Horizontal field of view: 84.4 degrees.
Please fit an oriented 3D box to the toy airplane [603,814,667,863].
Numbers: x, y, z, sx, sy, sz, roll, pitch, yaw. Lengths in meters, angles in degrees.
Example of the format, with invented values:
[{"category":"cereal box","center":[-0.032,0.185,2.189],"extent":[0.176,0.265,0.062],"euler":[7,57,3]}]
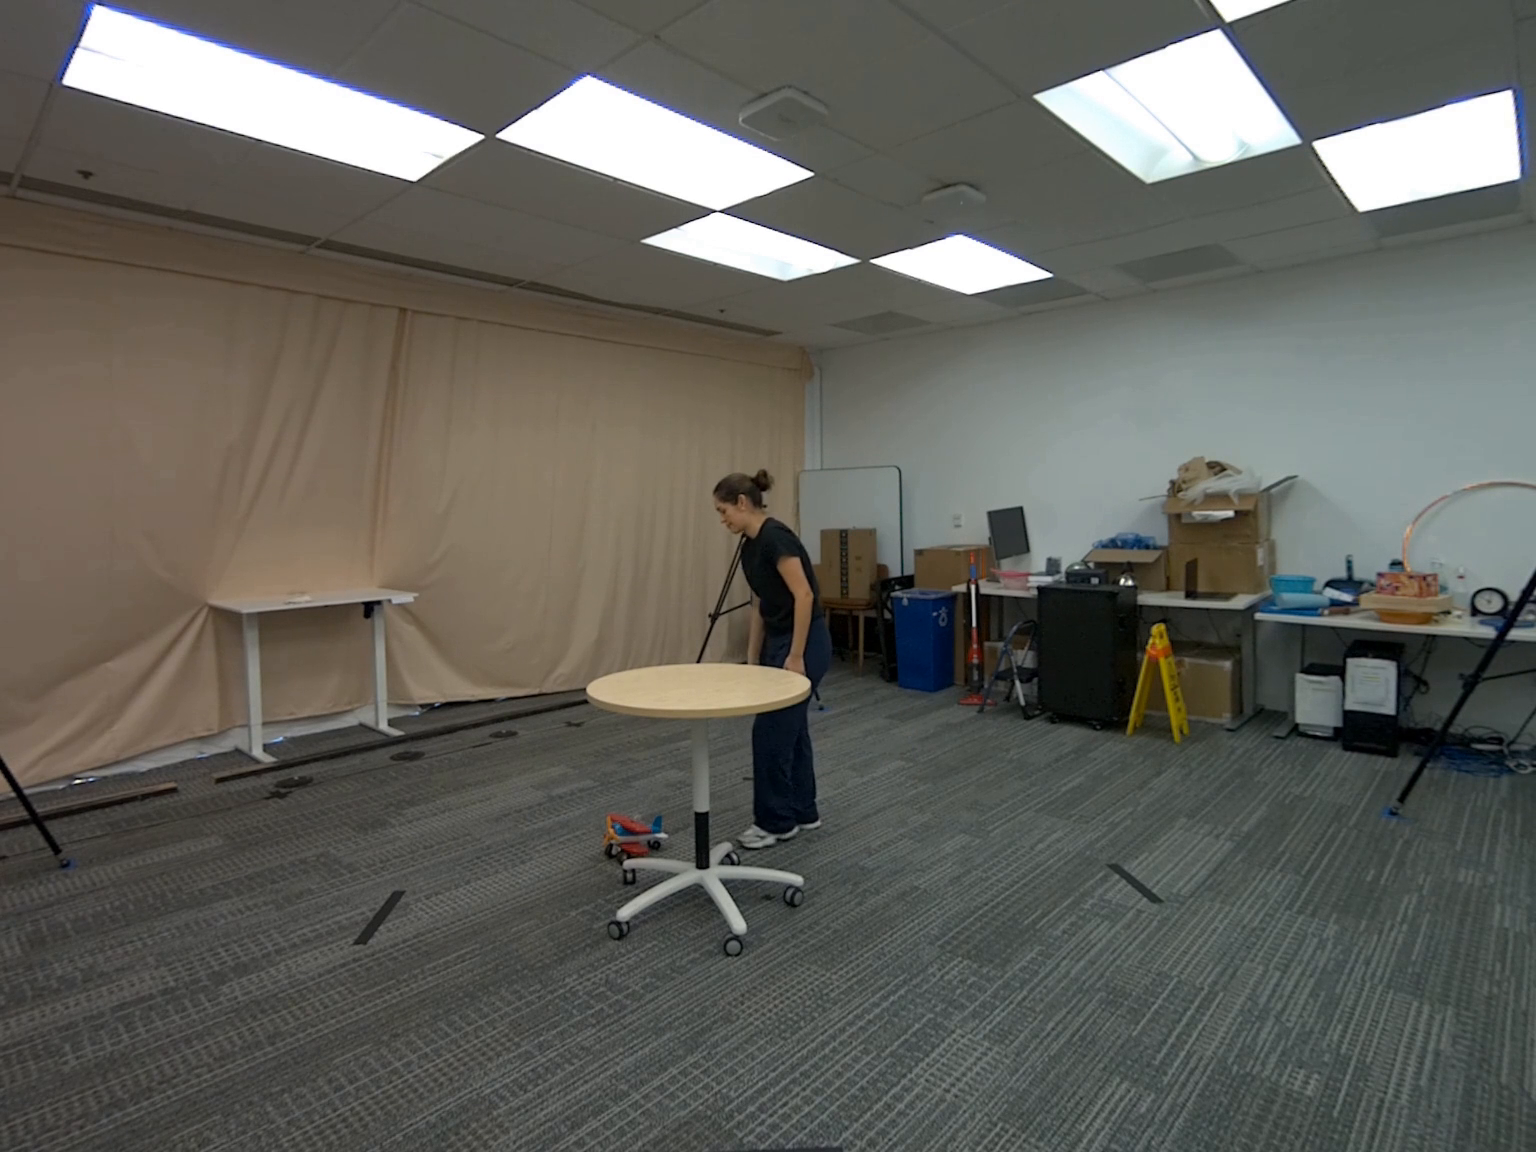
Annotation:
[{"category":"toy airplane","center":[-0.536,1.044,3.390],"extent":[0.257,0.156,0.254],"euler":[-1,6,21]}]
